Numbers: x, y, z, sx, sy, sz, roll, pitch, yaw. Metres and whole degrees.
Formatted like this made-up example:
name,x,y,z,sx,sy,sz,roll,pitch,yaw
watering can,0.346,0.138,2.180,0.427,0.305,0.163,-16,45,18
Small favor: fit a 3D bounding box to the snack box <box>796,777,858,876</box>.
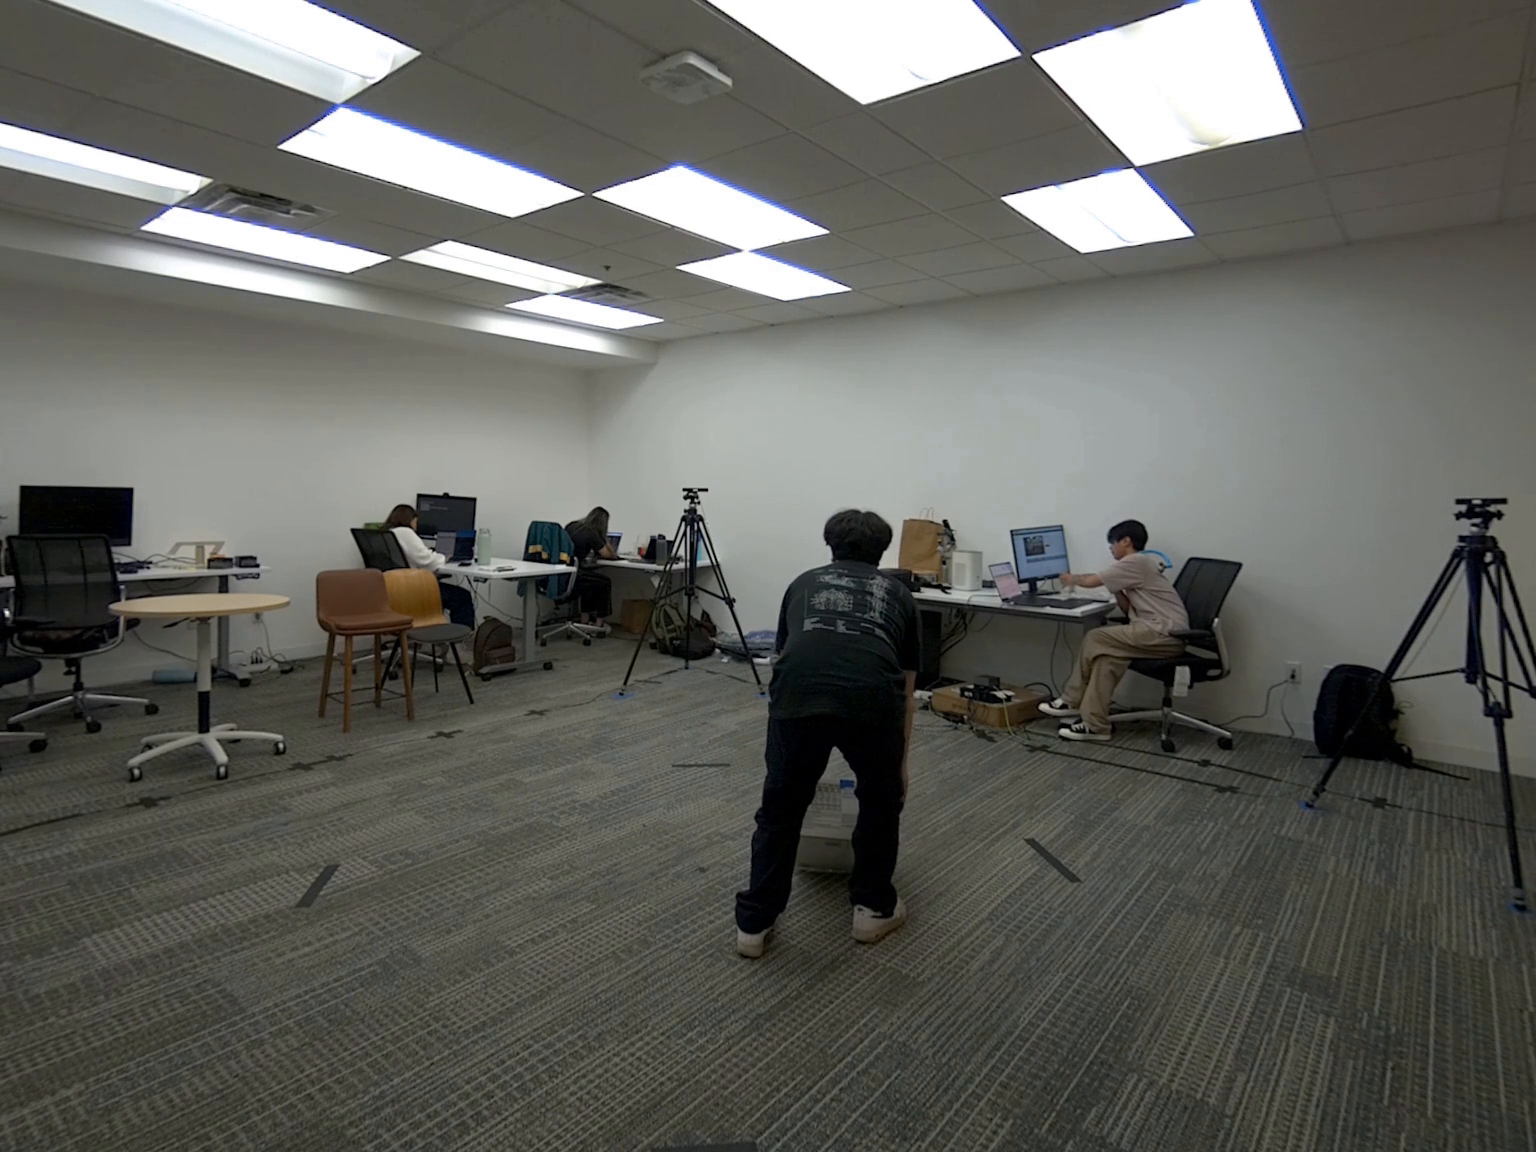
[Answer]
name,x,y,z,sx,sy,sz,roll,pitch,yaw
snack box,0.258,0.884,3.007,0.342,0.210,0.394,3,-33,3
